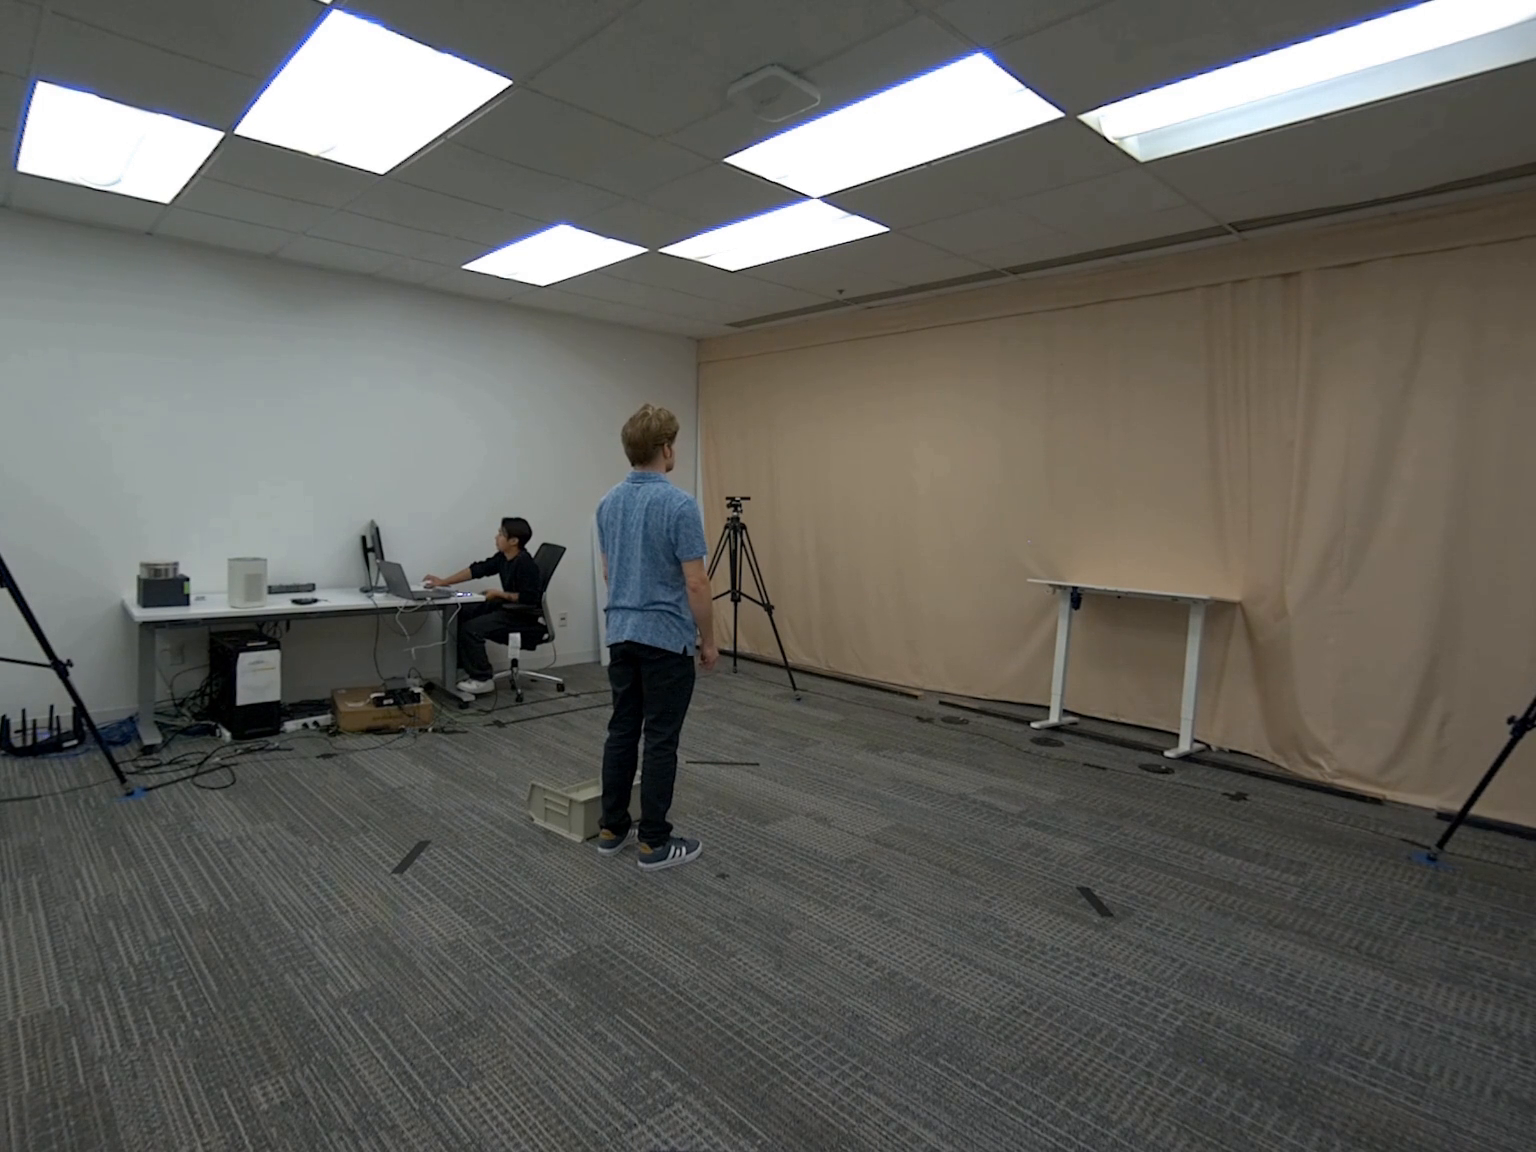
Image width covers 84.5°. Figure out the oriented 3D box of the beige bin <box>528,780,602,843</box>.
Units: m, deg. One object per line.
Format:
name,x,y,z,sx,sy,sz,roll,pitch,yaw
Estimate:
beige bin,-0.764,0.954,3.632,0.387,0.188,0.413,7,8,40
